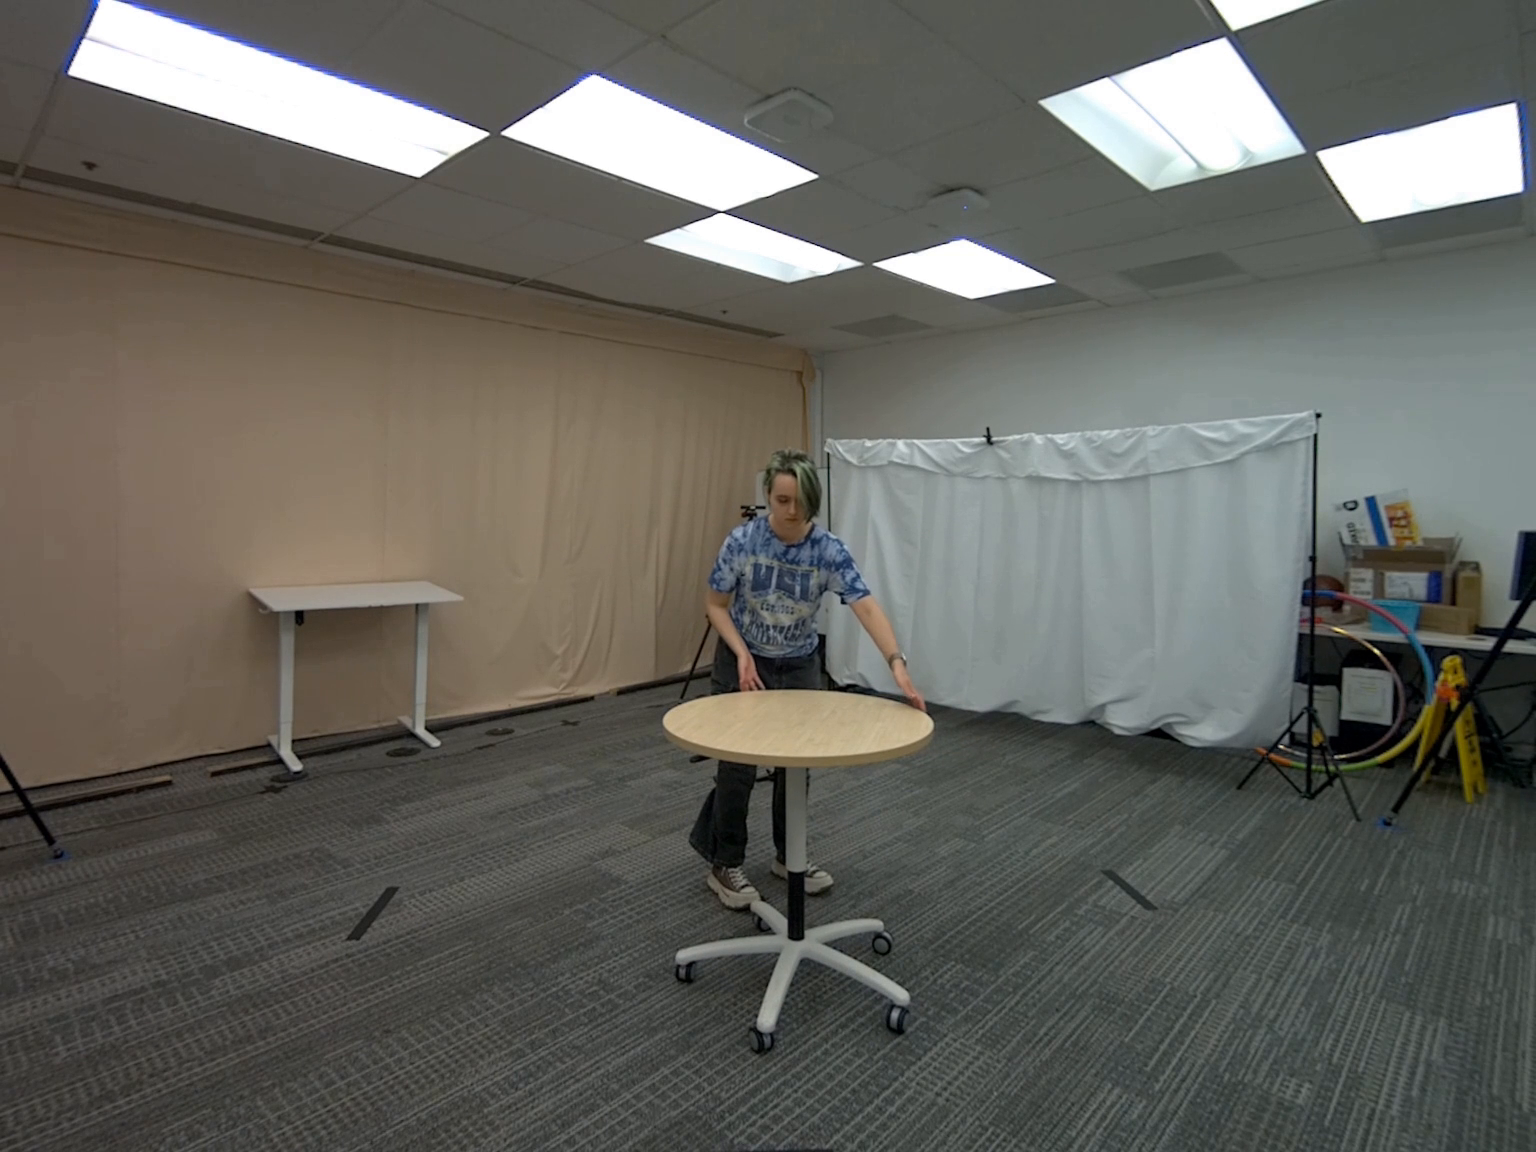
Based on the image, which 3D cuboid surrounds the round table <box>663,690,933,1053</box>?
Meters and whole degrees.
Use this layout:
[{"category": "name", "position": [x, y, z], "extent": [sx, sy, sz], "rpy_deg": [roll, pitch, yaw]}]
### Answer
[{"category": "round table", "position": [0.083, 0.801, 2.436], "extent": [0.763, 0.792, 0.766], "rpy_deg": [0, 4, -2]}]
